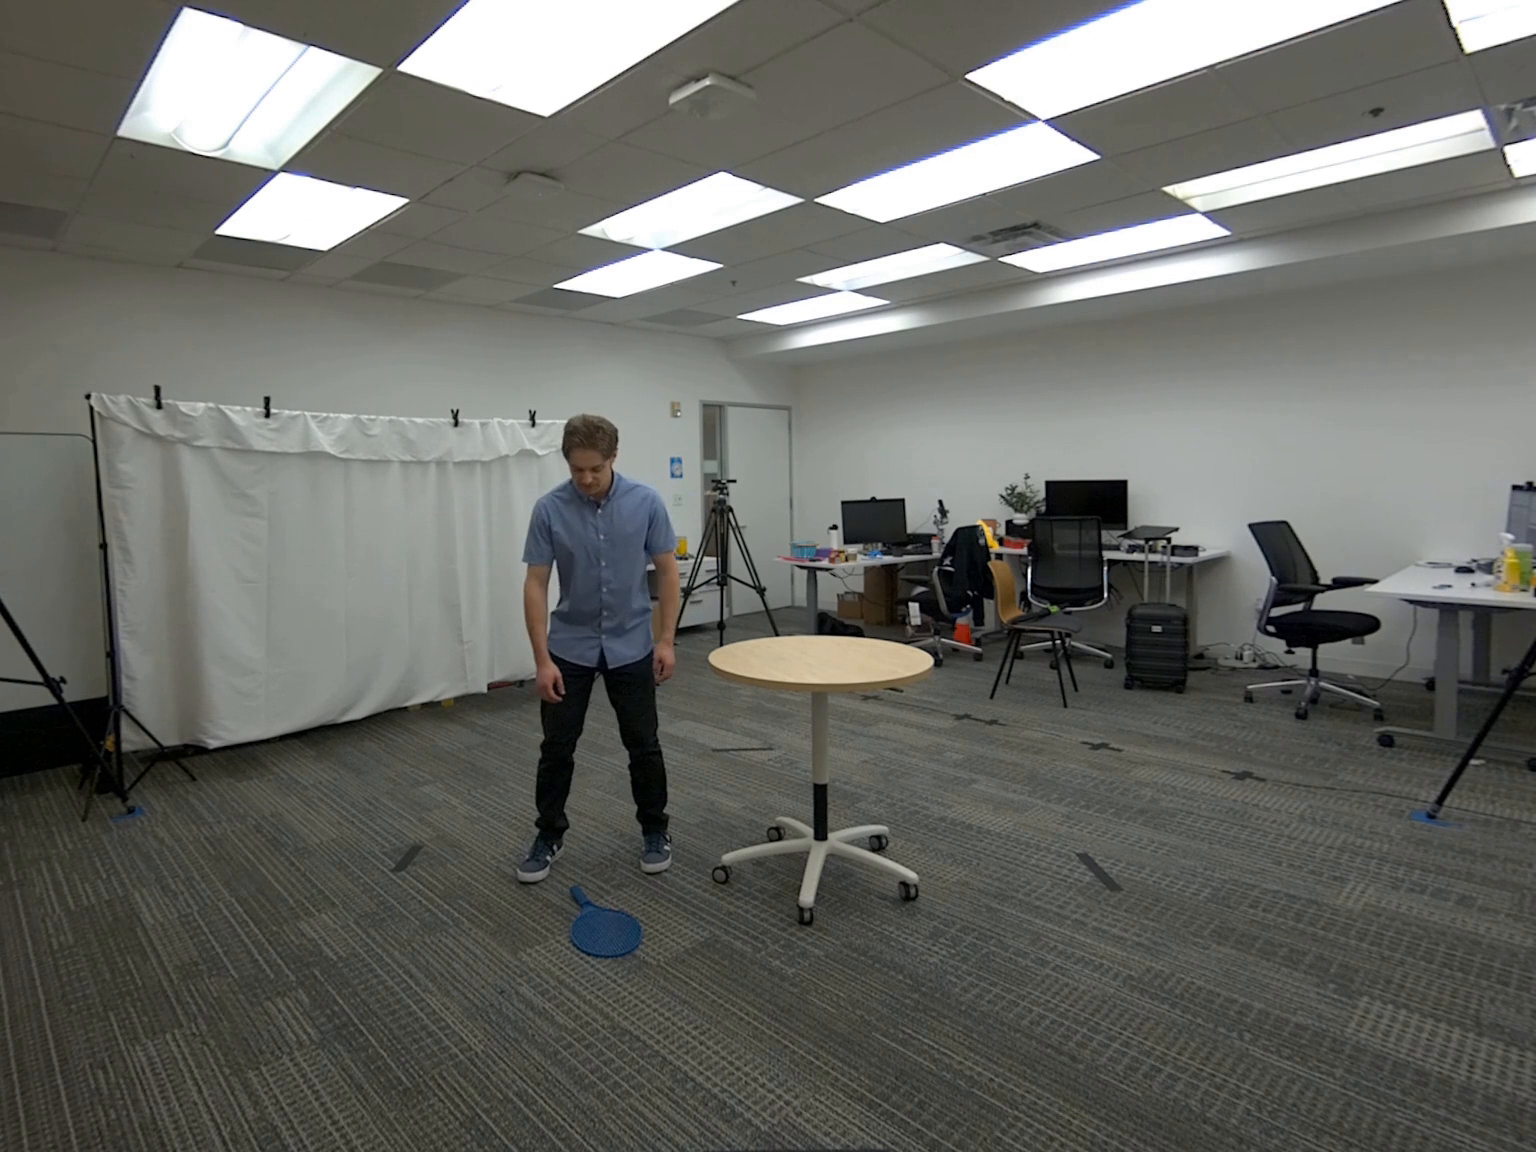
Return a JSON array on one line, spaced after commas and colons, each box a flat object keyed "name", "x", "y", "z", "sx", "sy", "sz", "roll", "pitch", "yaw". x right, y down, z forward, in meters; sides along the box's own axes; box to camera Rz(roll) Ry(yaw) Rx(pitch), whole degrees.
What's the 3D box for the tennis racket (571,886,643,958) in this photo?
[{"name": "tennis racket", "x": -0.537, "y": 1.091, "z": 2.711, "sx": 0.209, "sy": 0.031, "sz": 0.446, "roll": -6, "pitch": 9, "yaw": -31}]
